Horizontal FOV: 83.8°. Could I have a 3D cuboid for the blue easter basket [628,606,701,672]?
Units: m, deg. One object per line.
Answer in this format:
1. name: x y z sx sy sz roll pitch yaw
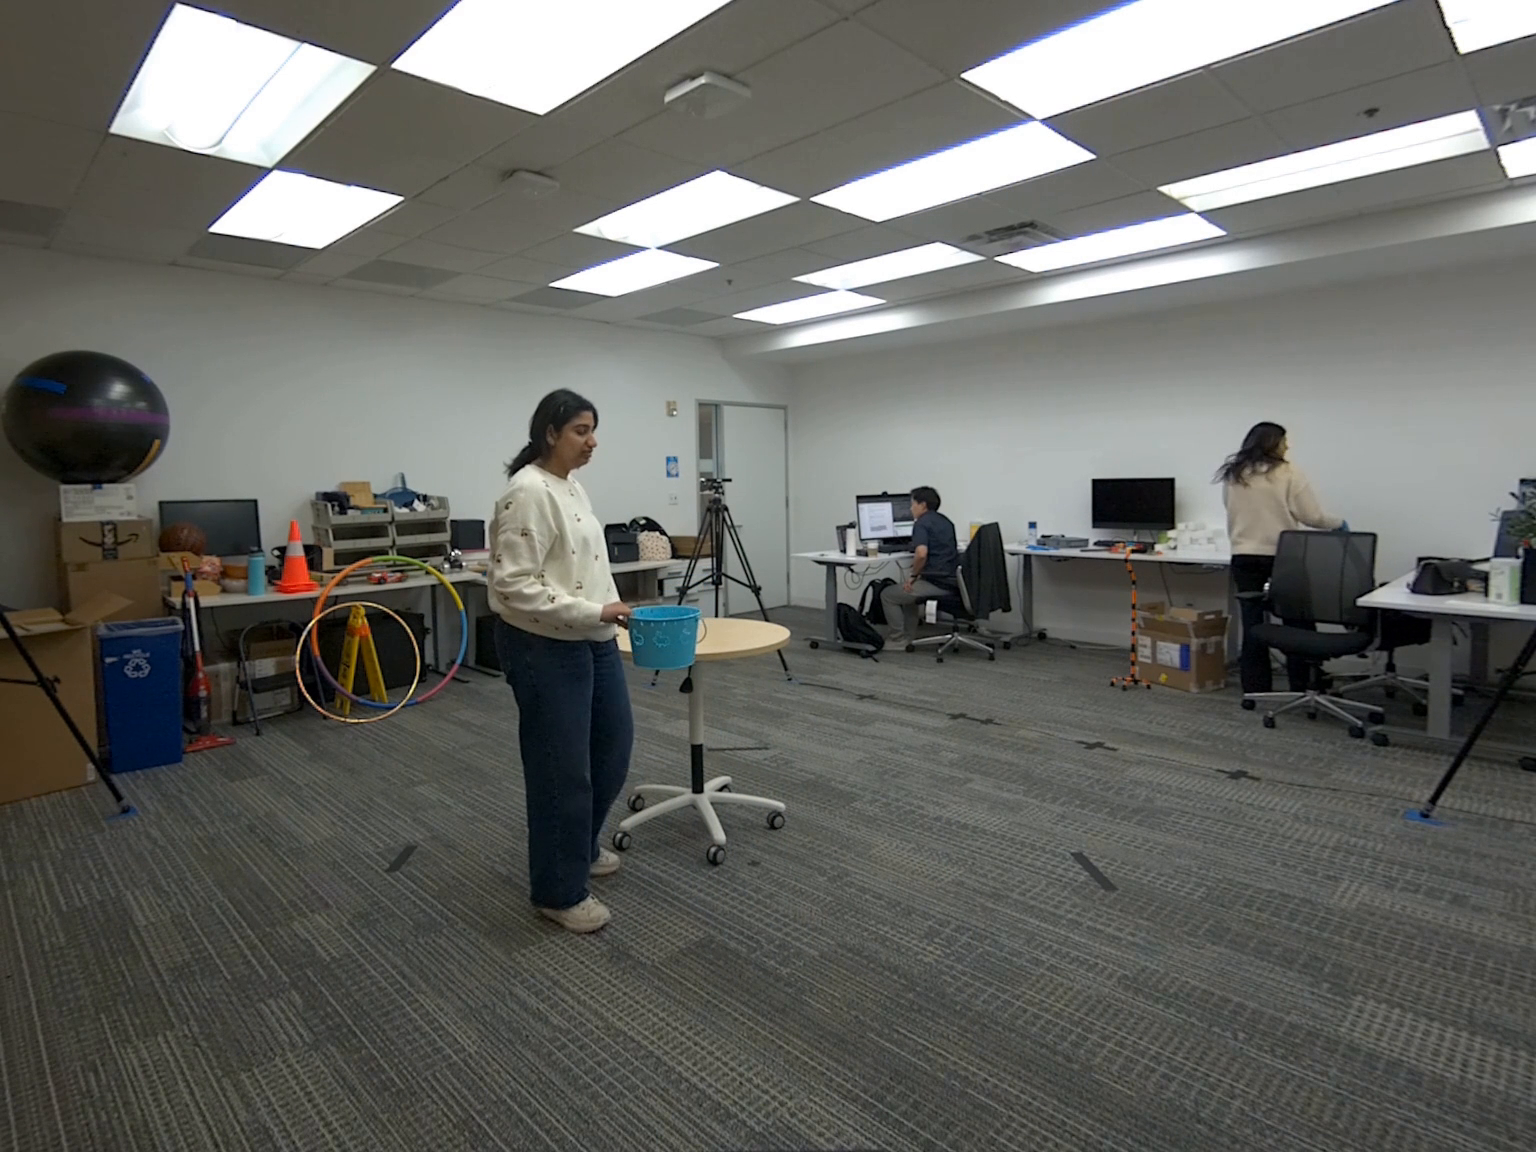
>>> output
1. blue easter basket: -0.315 0.187 2.528 0.243 0.155 0.245 -2 7 -1
